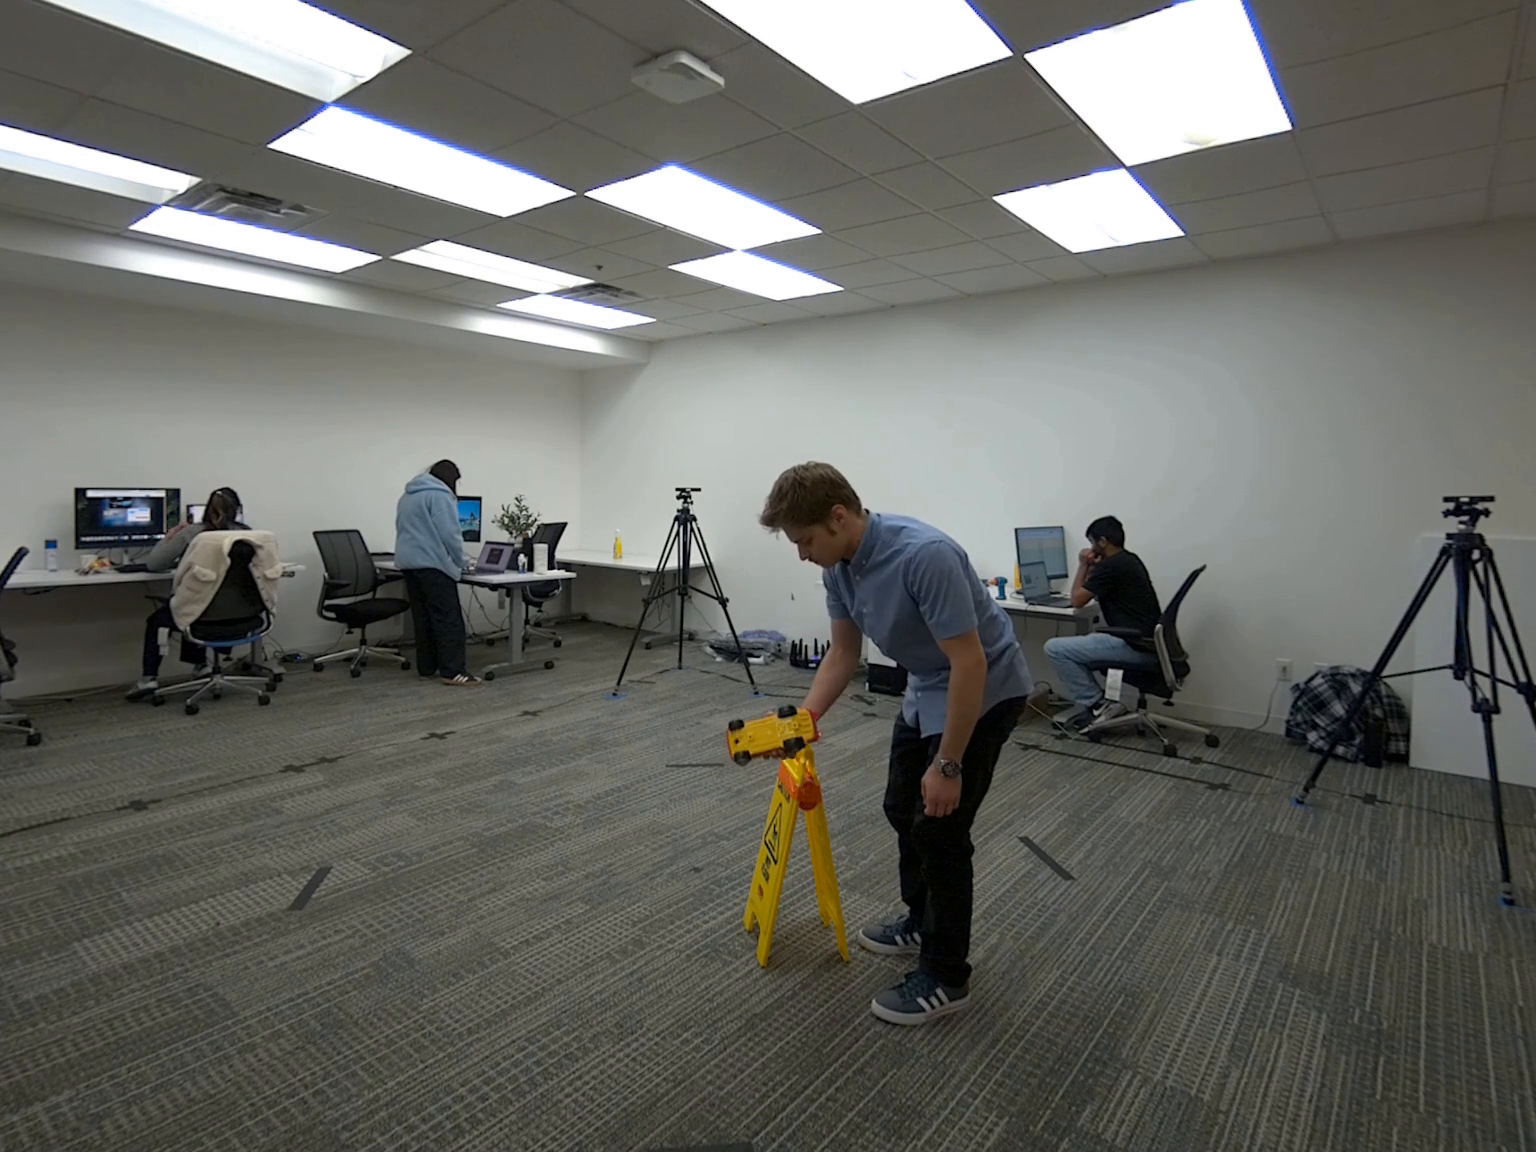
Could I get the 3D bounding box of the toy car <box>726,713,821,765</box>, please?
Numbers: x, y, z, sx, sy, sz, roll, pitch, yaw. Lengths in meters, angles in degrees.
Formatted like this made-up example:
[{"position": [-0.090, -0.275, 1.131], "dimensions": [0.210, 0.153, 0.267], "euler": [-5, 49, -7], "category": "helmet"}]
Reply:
[{"position": [0.025, 0.467, 2.273], "dimensions": [0.254, 0.132, 0.082], "euler": [-3, -13, -2], "category": "toy car"}]
